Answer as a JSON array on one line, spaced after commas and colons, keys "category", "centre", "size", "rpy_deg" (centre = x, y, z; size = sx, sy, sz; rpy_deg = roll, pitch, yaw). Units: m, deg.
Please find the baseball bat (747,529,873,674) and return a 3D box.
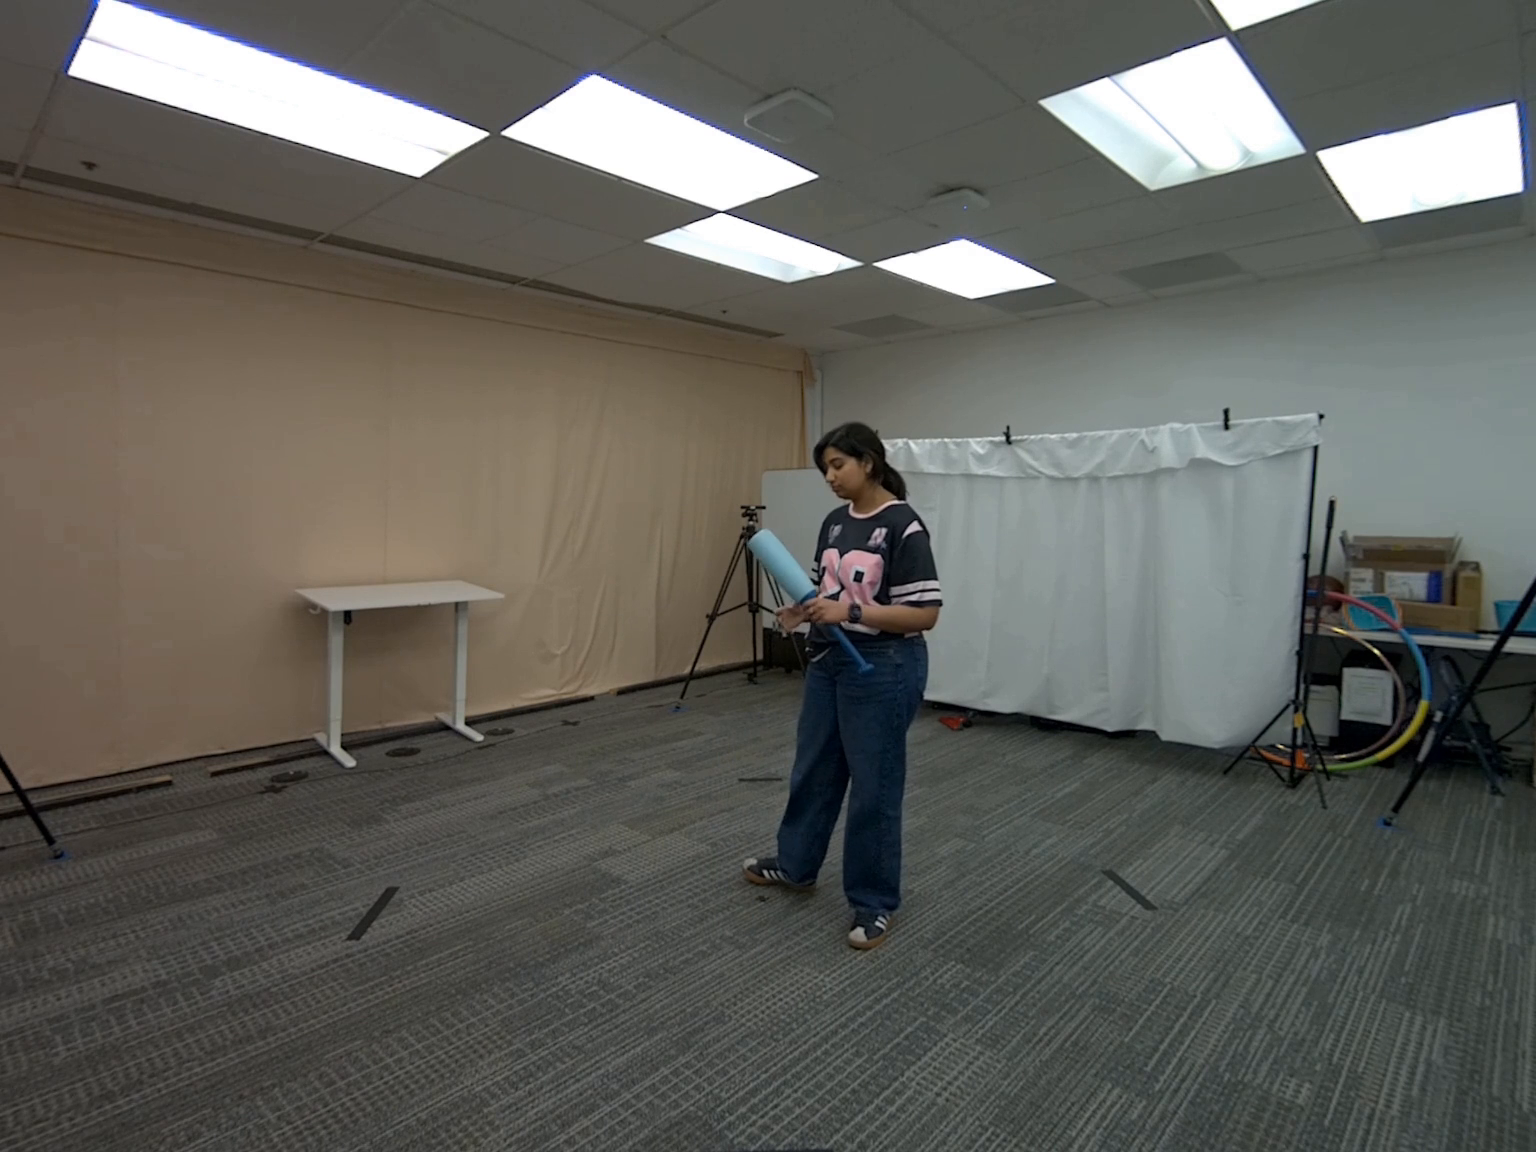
[{"category": "baseball bat", "centre": [0.162, 0.094, 2.542], "size": [0.088, 0.553, 0.088], "rpy_deg": [-34, -16, -12]}]
